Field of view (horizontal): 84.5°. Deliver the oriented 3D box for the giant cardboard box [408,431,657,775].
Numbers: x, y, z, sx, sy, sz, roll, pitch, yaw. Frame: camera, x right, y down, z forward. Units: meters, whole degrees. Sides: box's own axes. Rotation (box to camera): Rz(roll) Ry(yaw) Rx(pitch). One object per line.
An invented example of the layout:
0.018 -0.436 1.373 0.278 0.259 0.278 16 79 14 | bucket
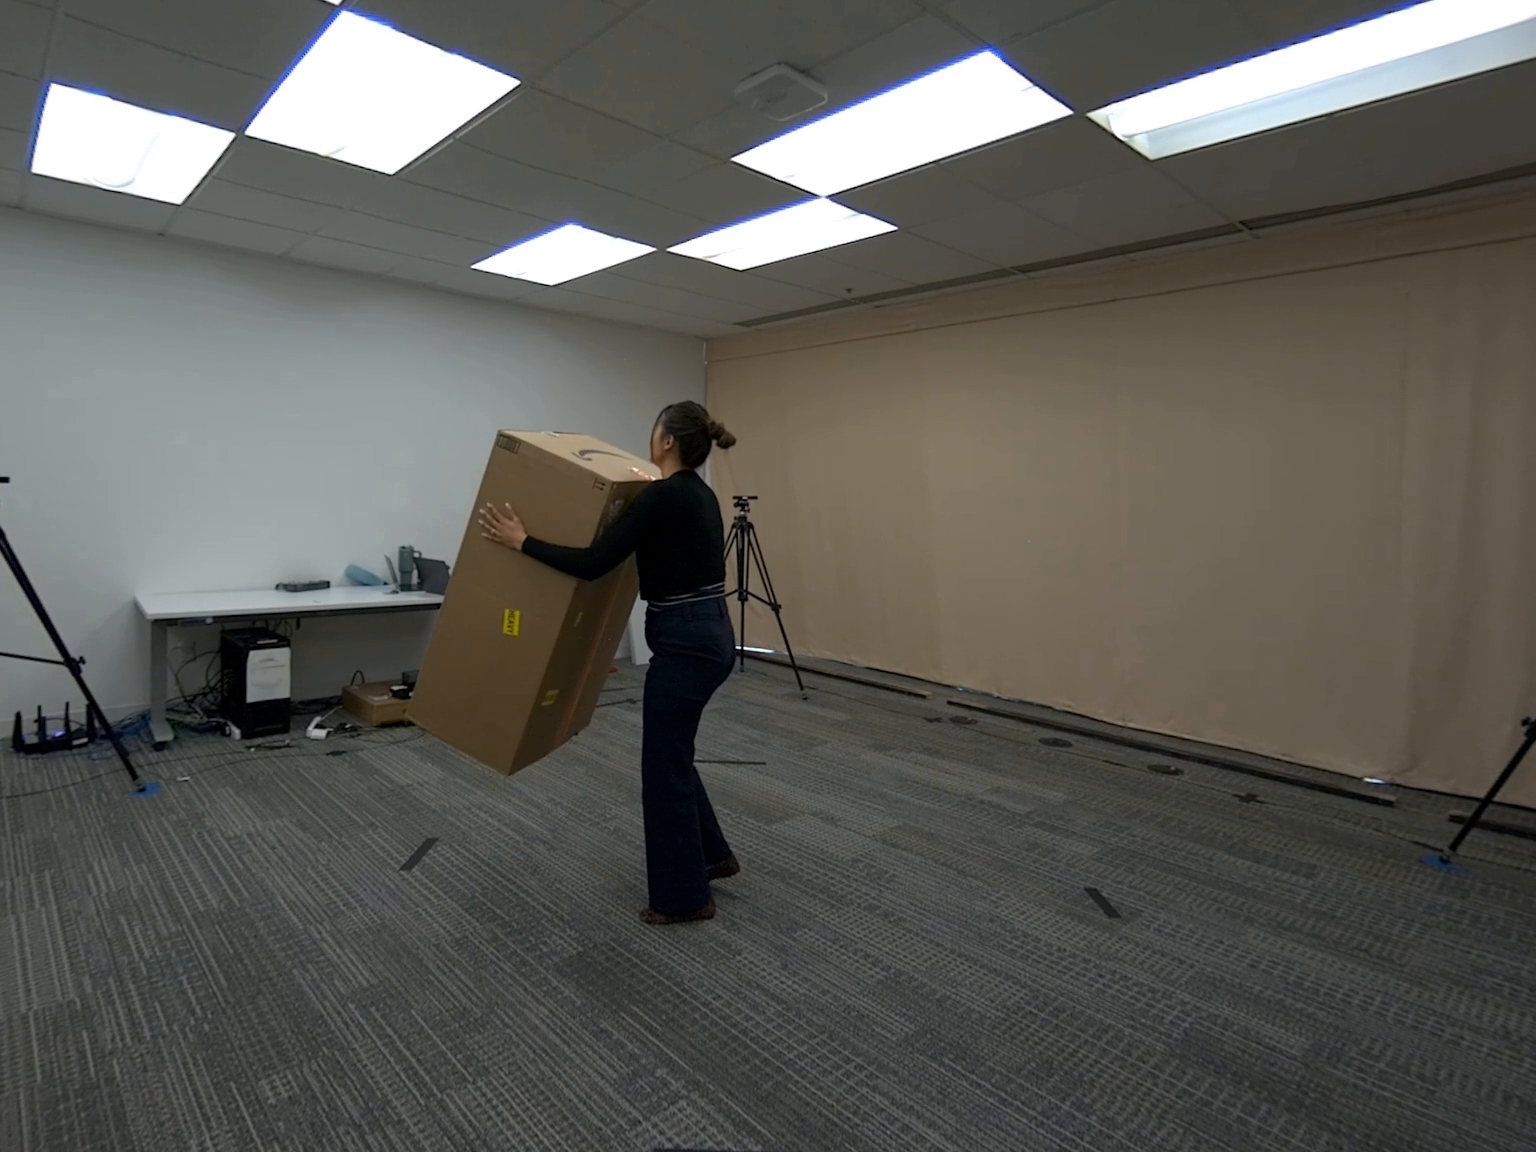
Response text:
-0.758 0.063 2.904 0.433 1.021 0.572 25 13 13 | giant cardboard box
